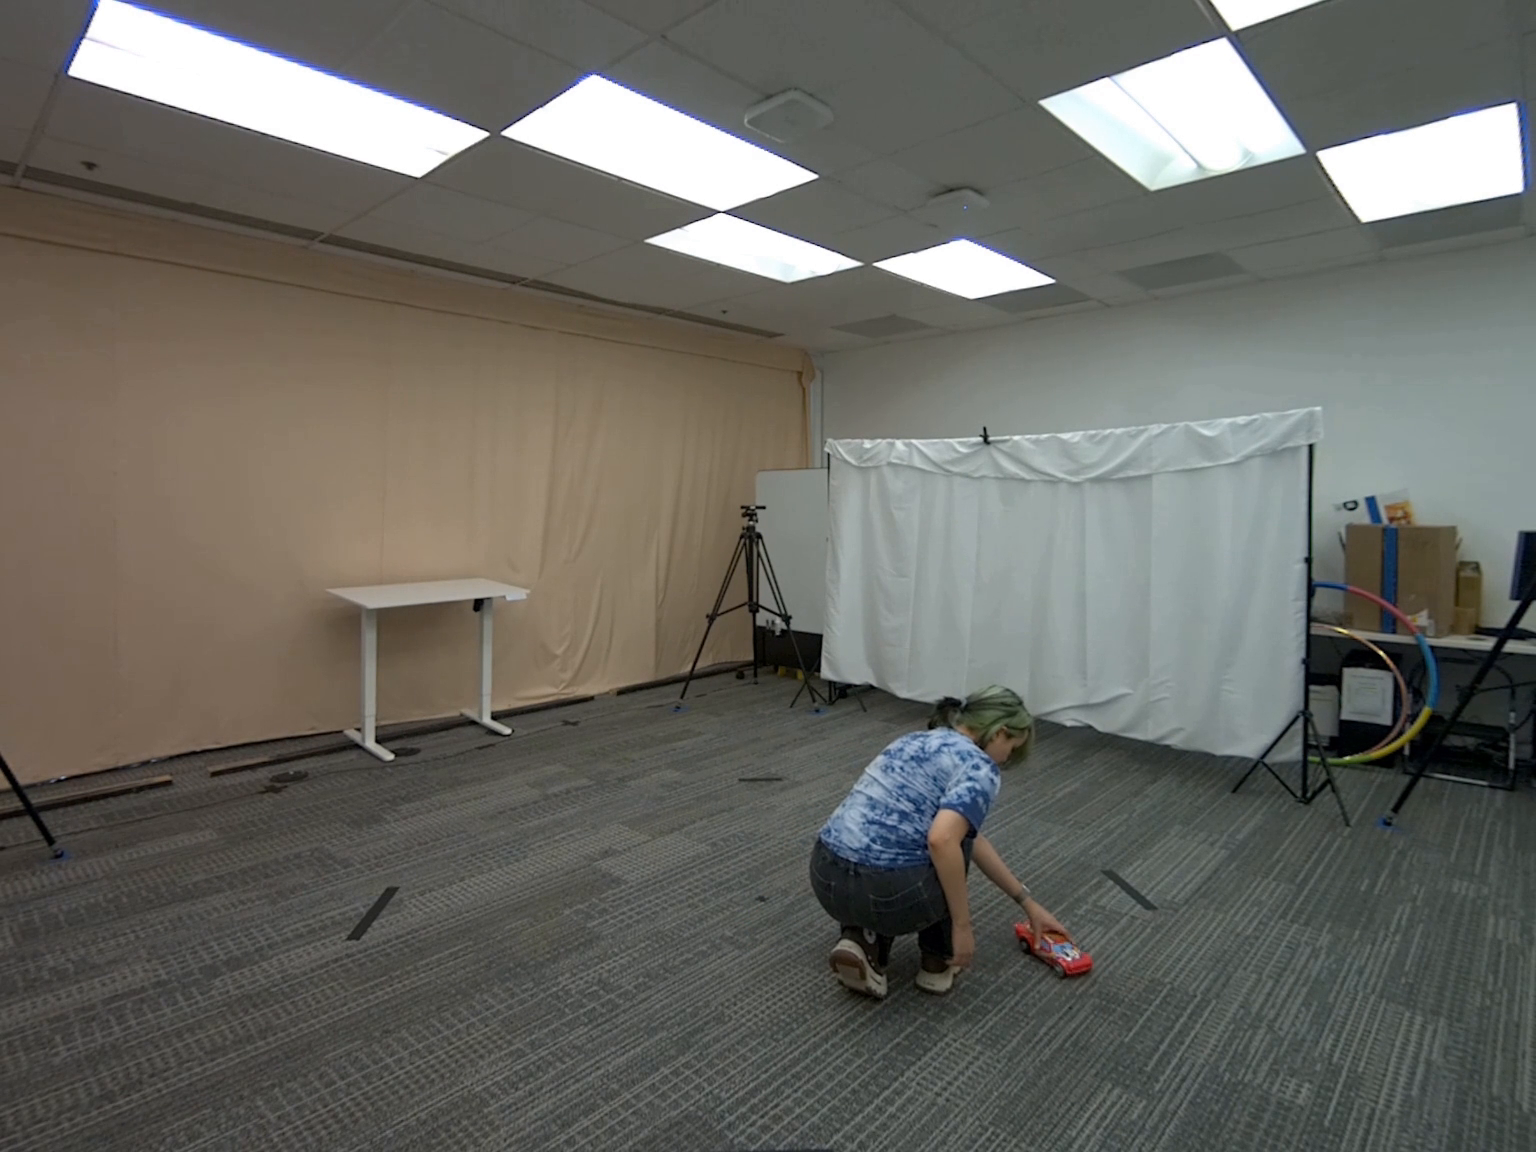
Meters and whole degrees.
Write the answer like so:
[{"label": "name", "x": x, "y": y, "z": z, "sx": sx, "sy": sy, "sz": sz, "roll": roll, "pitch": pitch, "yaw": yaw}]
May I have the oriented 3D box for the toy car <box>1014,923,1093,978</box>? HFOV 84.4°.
[{"label": "toy car", "x": 0.875, "y": 1.147, "z": 2.576, "sx": 0.128, "sy": 0.082, "sz": 0.262, "roll": -3, "pitch": 16, "yaw": -21}]
